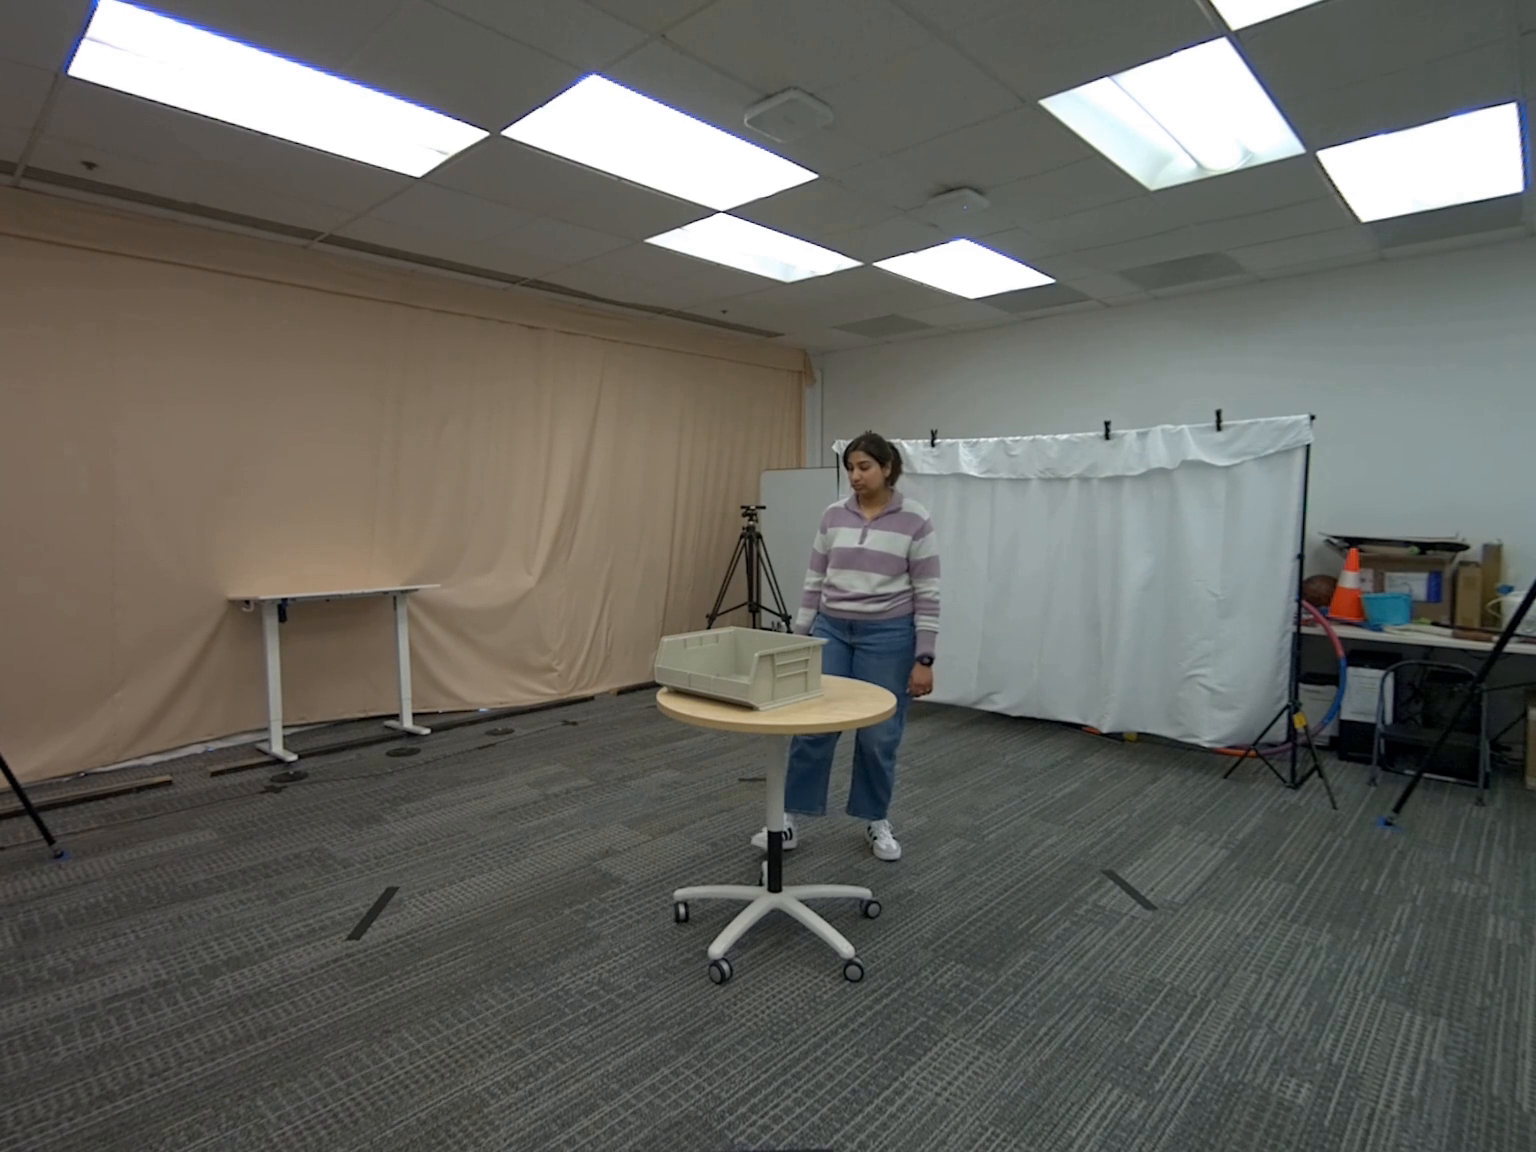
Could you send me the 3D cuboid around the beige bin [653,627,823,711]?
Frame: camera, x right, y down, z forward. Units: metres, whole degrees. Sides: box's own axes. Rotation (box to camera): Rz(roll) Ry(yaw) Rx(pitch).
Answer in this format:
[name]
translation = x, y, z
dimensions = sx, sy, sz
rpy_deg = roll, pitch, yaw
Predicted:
[beige bin]
translation = -0.084, 0.295, 2.717
dimensions = 0.436, 0.189, 0.365
rpy_deg = 3, 4, 42
